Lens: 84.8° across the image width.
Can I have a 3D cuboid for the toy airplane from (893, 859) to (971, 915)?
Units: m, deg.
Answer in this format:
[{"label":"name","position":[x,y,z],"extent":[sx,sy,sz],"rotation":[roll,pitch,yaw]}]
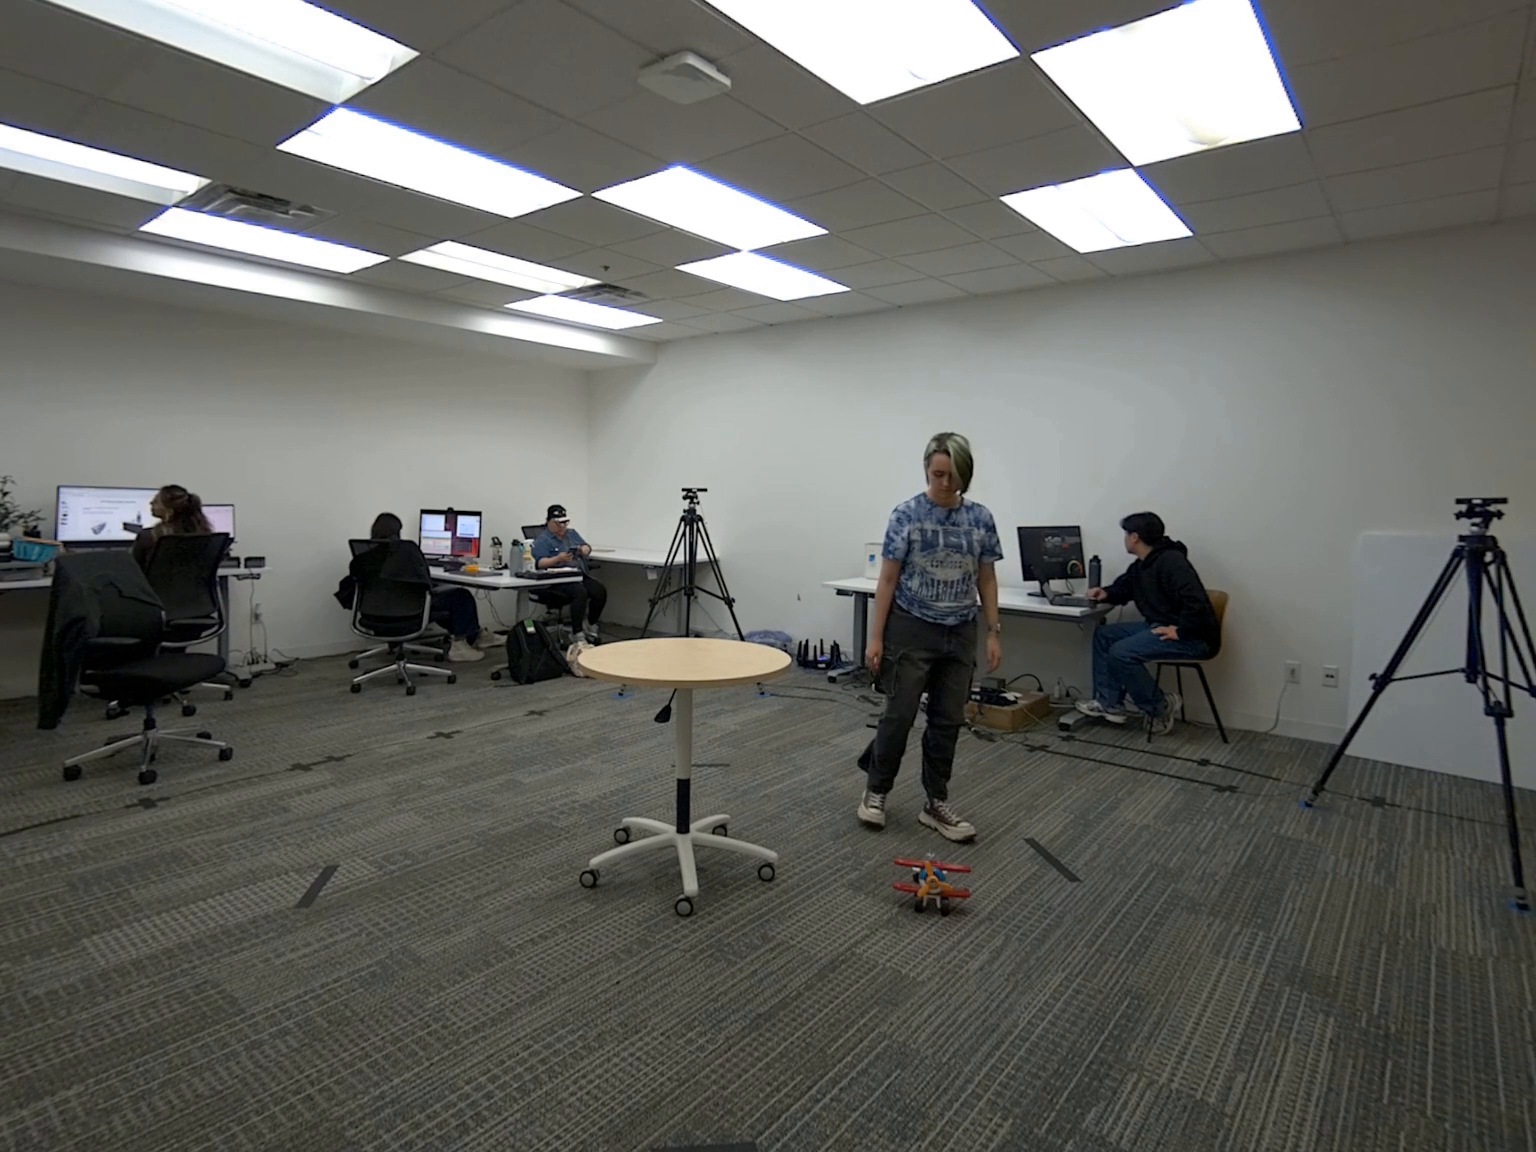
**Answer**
[{"label":"toy airplane","position":[0.531,1.033,2.913],"extent":[0.246,0.156,0.265],"rotation":[0,6,-20]}]
